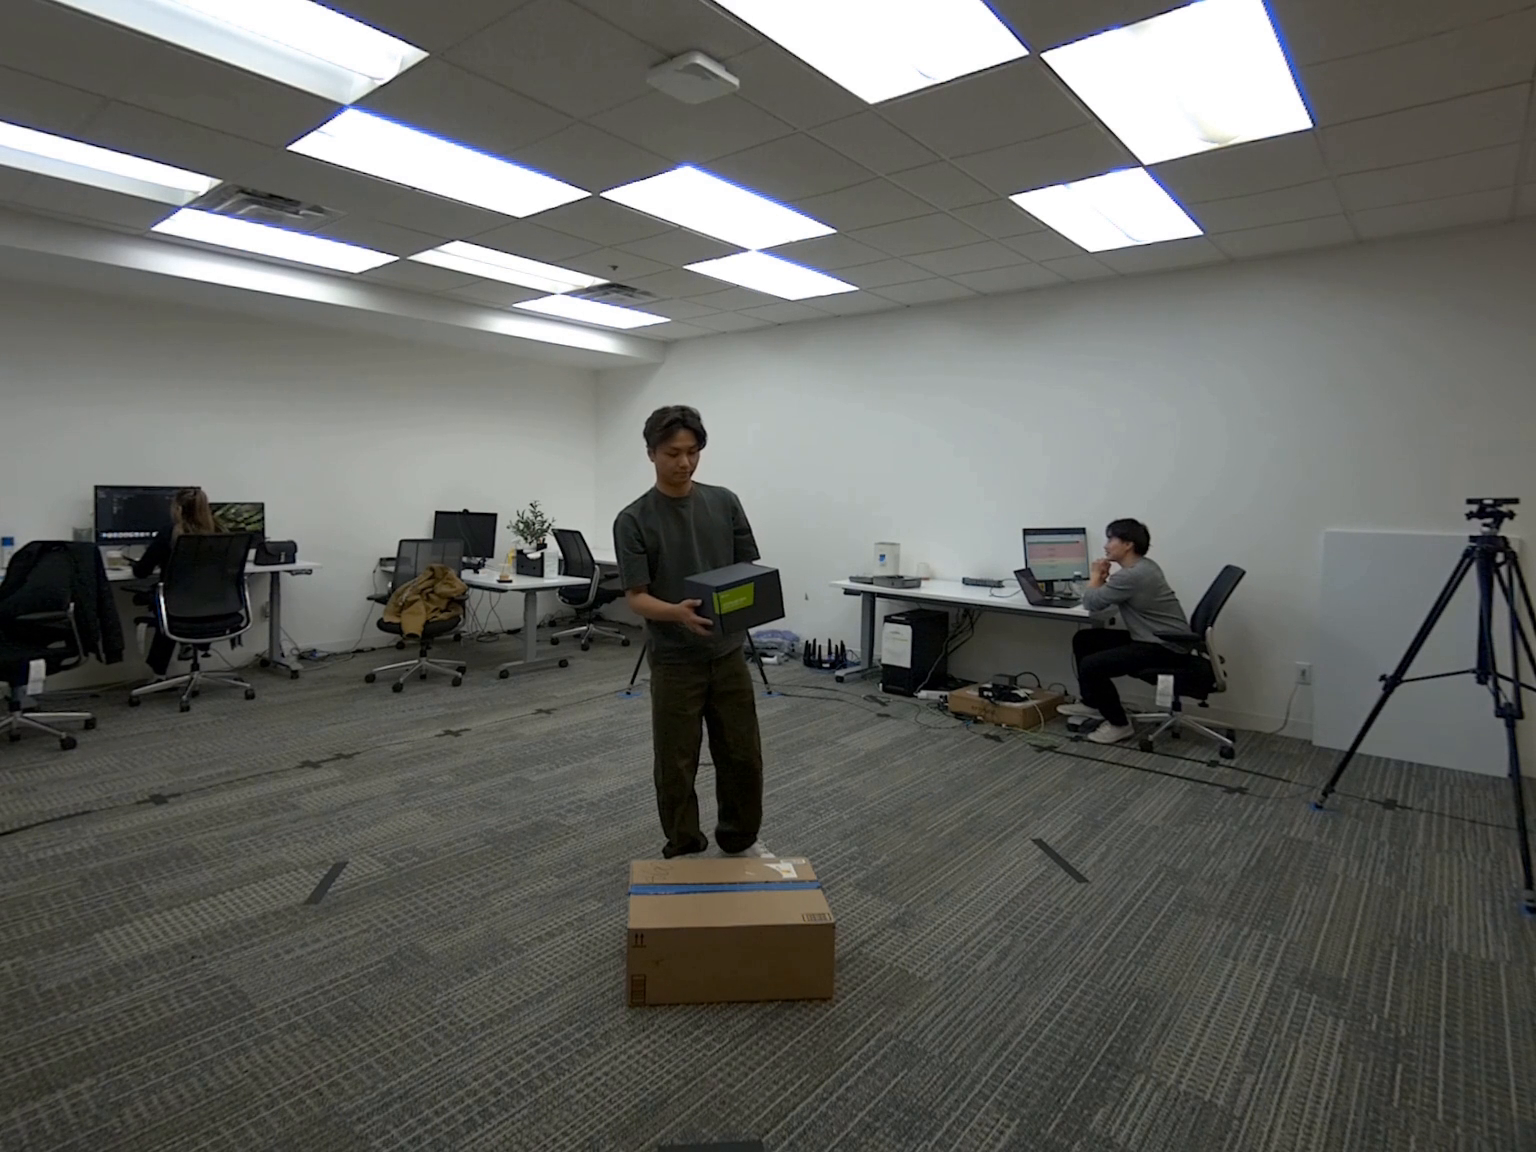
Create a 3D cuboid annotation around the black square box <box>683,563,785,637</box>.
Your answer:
[{"bbox_3d":[-0.119,0.064,2.660,0.223,0.154,0.224,-15,13,-29],"label":"black square box"}]
